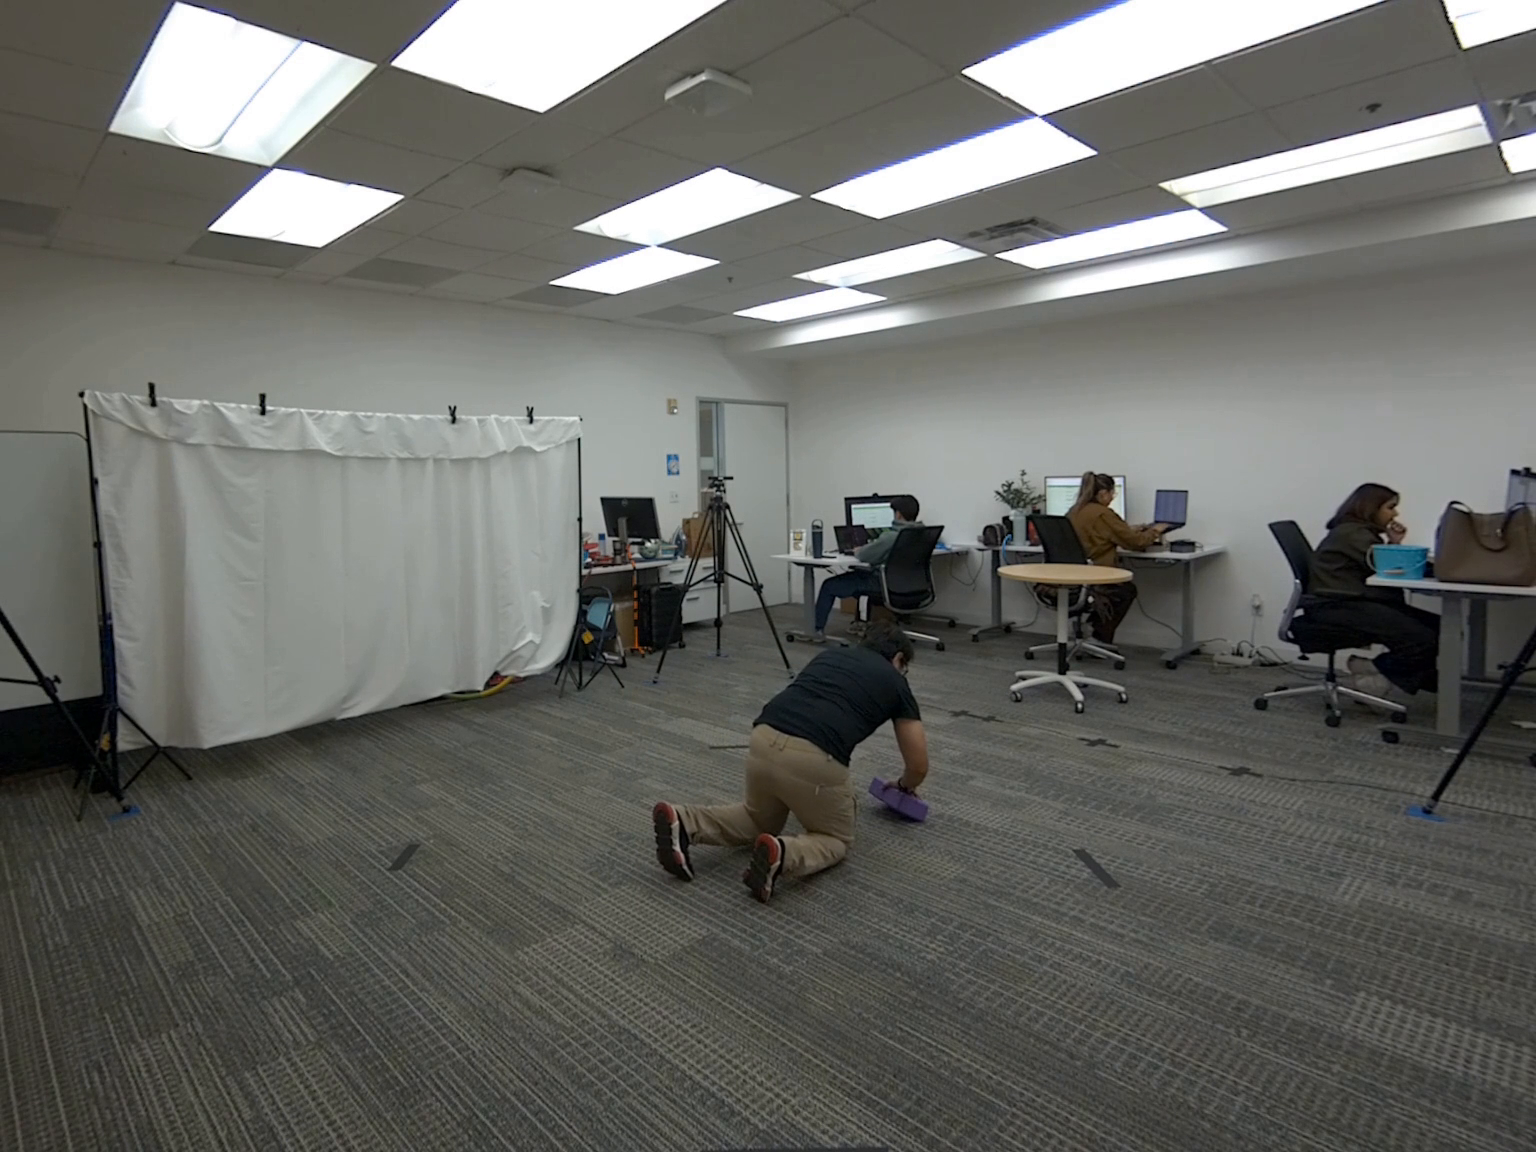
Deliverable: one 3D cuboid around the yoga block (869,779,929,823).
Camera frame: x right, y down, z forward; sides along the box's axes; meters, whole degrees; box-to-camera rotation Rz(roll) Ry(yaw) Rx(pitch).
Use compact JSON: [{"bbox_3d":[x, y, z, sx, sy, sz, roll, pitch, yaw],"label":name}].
[{"bbox_3d":[0.541,0.917,3.515,0.145,0.076,0.235,28,-6,-24],"label":"yoga block"}]
